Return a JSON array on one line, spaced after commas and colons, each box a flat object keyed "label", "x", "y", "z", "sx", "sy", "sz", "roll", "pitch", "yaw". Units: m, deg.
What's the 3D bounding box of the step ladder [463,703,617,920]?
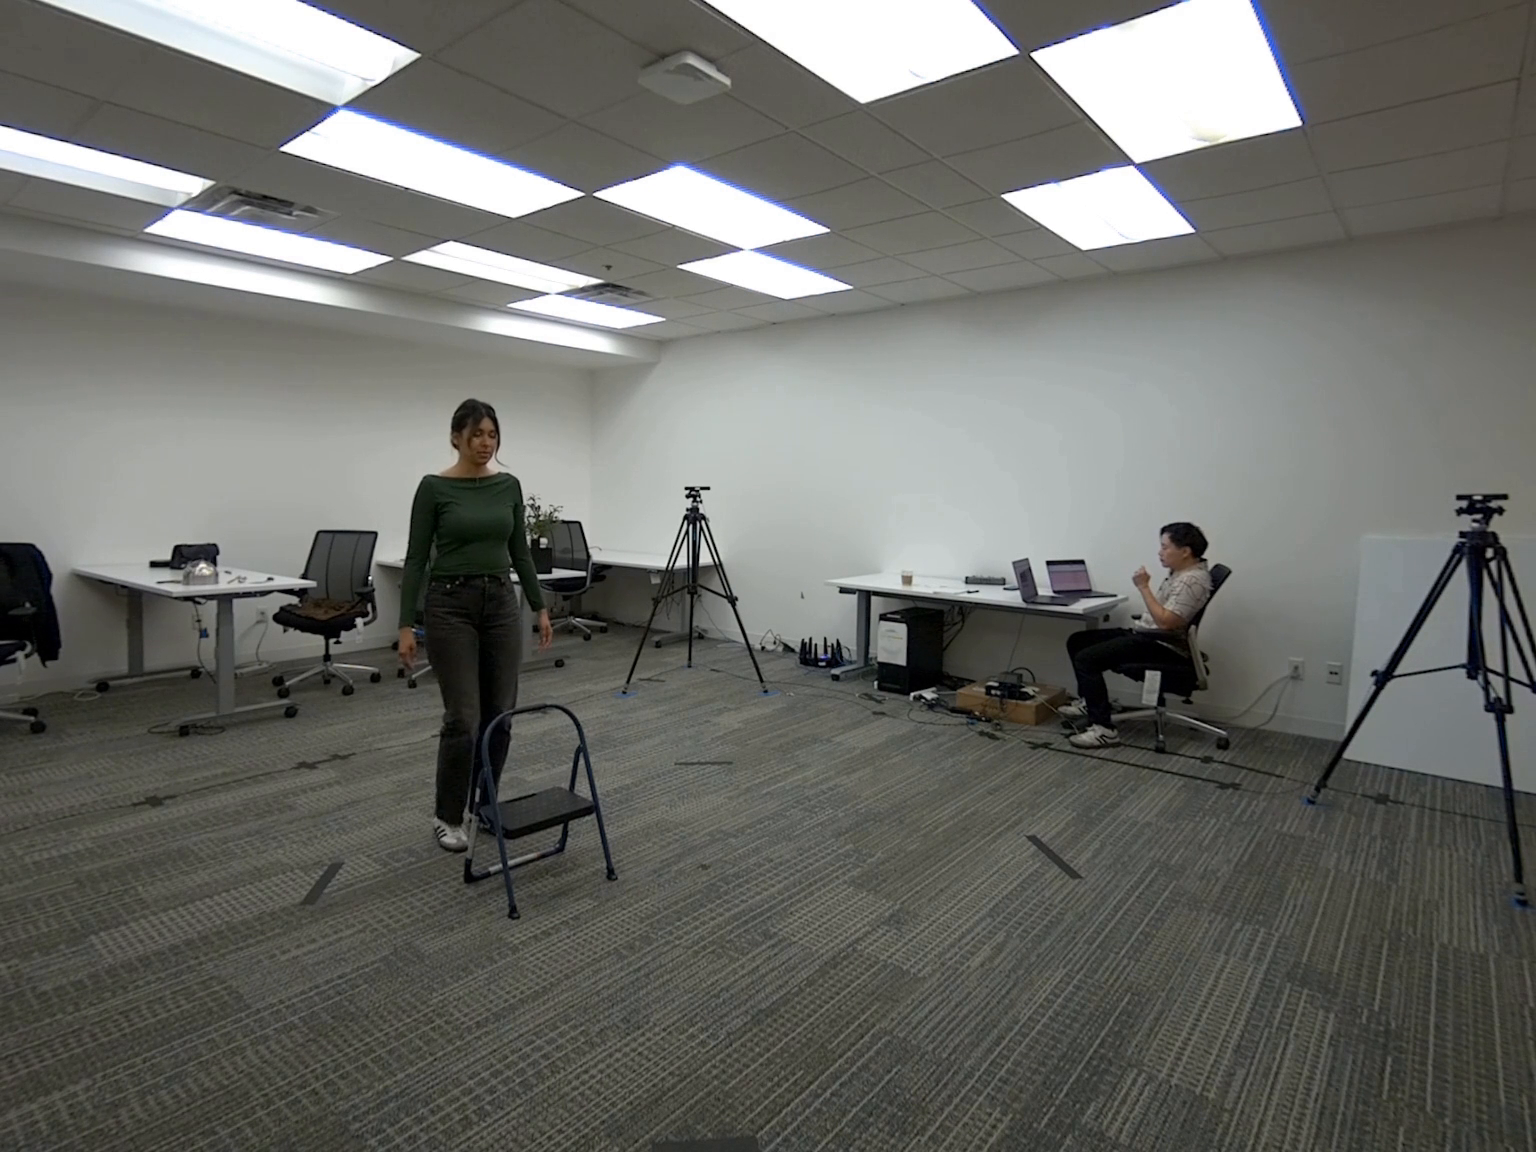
[{"label": "step ladder", "x": -0.807, "y": 0.767, "z": 2.974, "sx": 0.361, "sy": 0.604, "sz": 0.417, "roll": 3, "pitch": 4, "yaw": 43}]
